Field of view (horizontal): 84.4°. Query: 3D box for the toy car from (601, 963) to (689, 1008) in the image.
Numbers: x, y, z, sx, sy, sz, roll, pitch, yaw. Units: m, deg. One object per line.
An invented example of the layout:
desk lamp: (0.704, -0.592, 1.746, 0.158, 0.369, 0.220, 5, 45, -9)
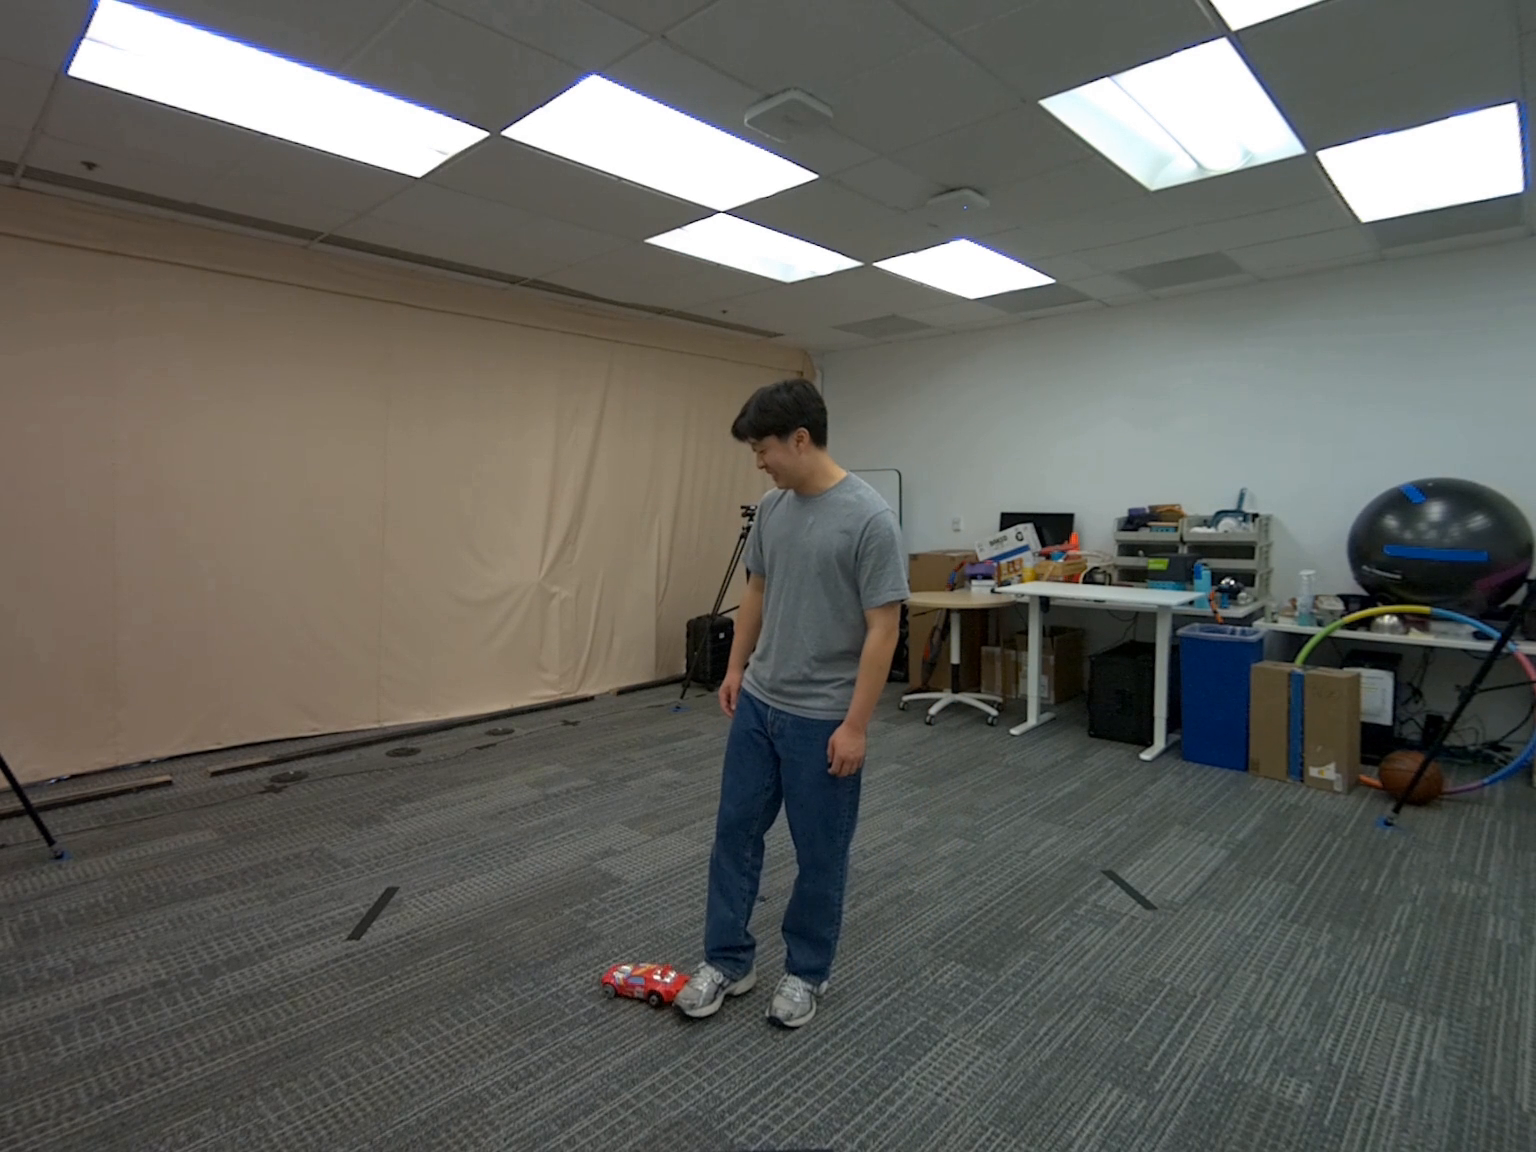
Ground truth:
toy car: (-0.345, 1.163, 2.392, 0.259, 0.083, 0.127, -12, 0, 22)
